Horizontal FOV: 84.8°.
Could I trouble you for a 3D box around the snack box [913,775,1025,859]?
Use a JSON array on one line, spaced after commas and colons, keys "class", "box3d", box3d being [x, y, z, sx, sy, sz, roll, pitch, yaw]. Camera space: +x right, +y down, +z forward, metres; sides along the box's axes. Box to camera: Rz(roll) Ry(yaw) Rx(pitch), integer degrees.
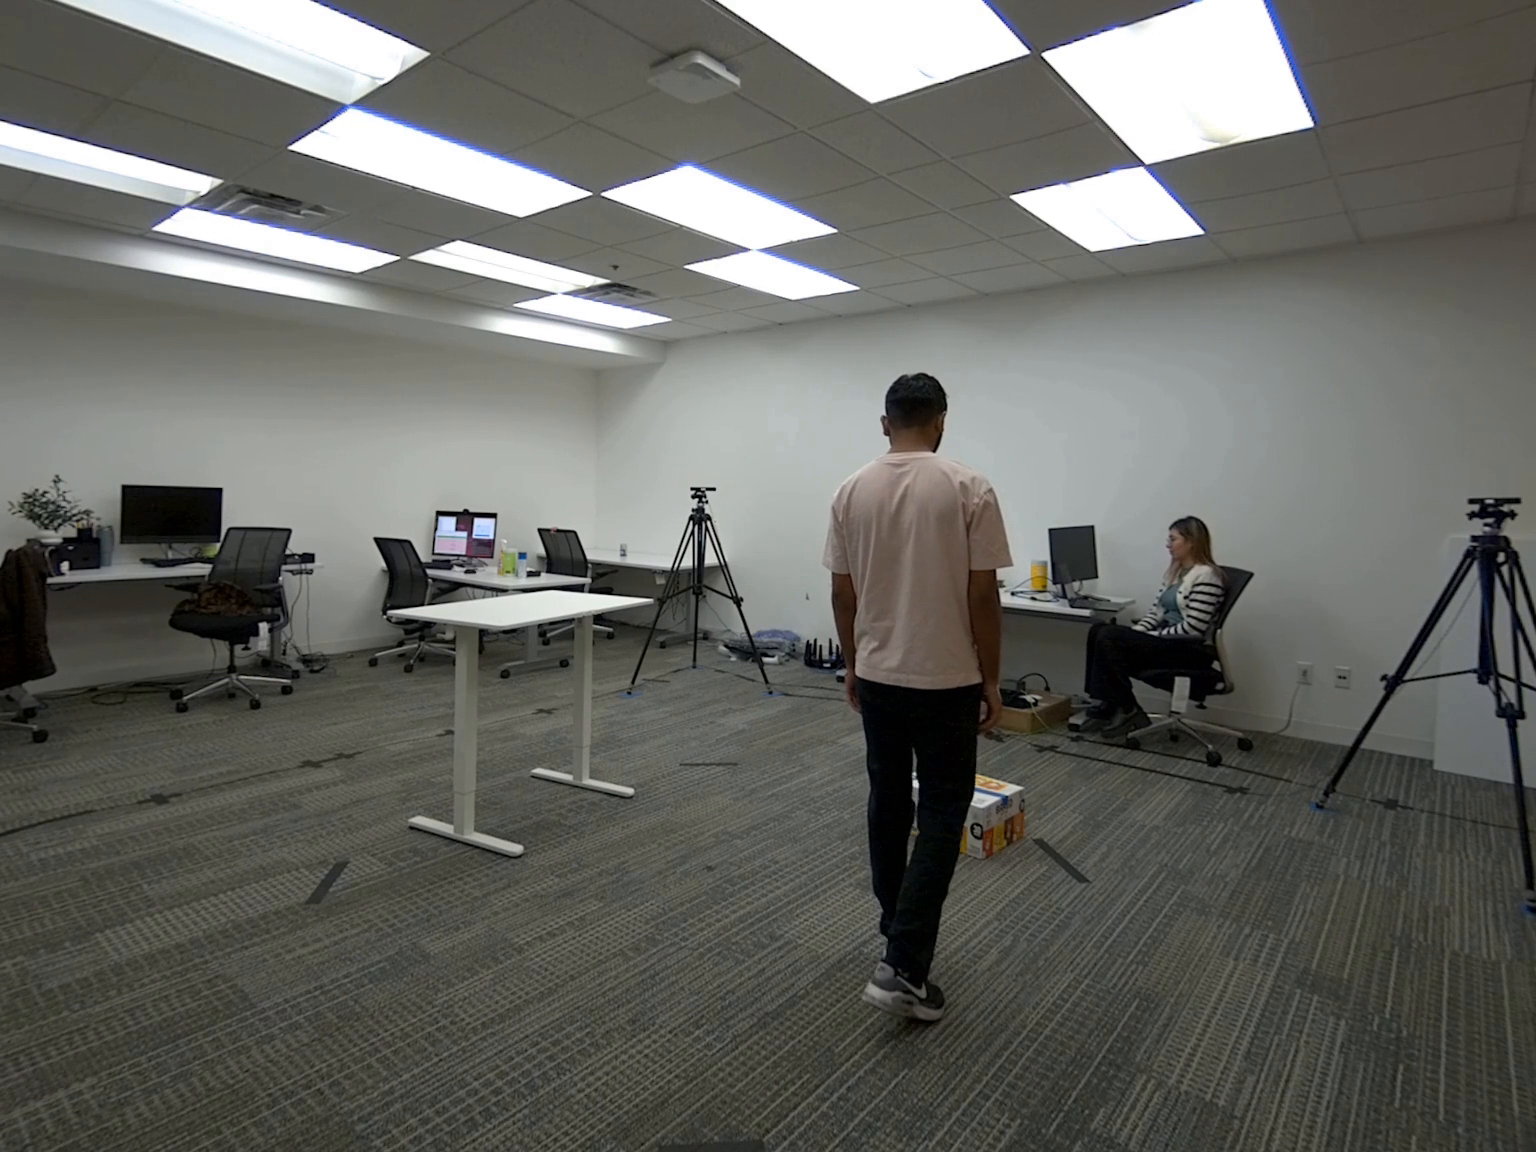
[{"class": "snack box", "box3d": [0.777, 0.950, 3.490, 0.419, 0.205, 0.330, 6, 7, 44]}]
